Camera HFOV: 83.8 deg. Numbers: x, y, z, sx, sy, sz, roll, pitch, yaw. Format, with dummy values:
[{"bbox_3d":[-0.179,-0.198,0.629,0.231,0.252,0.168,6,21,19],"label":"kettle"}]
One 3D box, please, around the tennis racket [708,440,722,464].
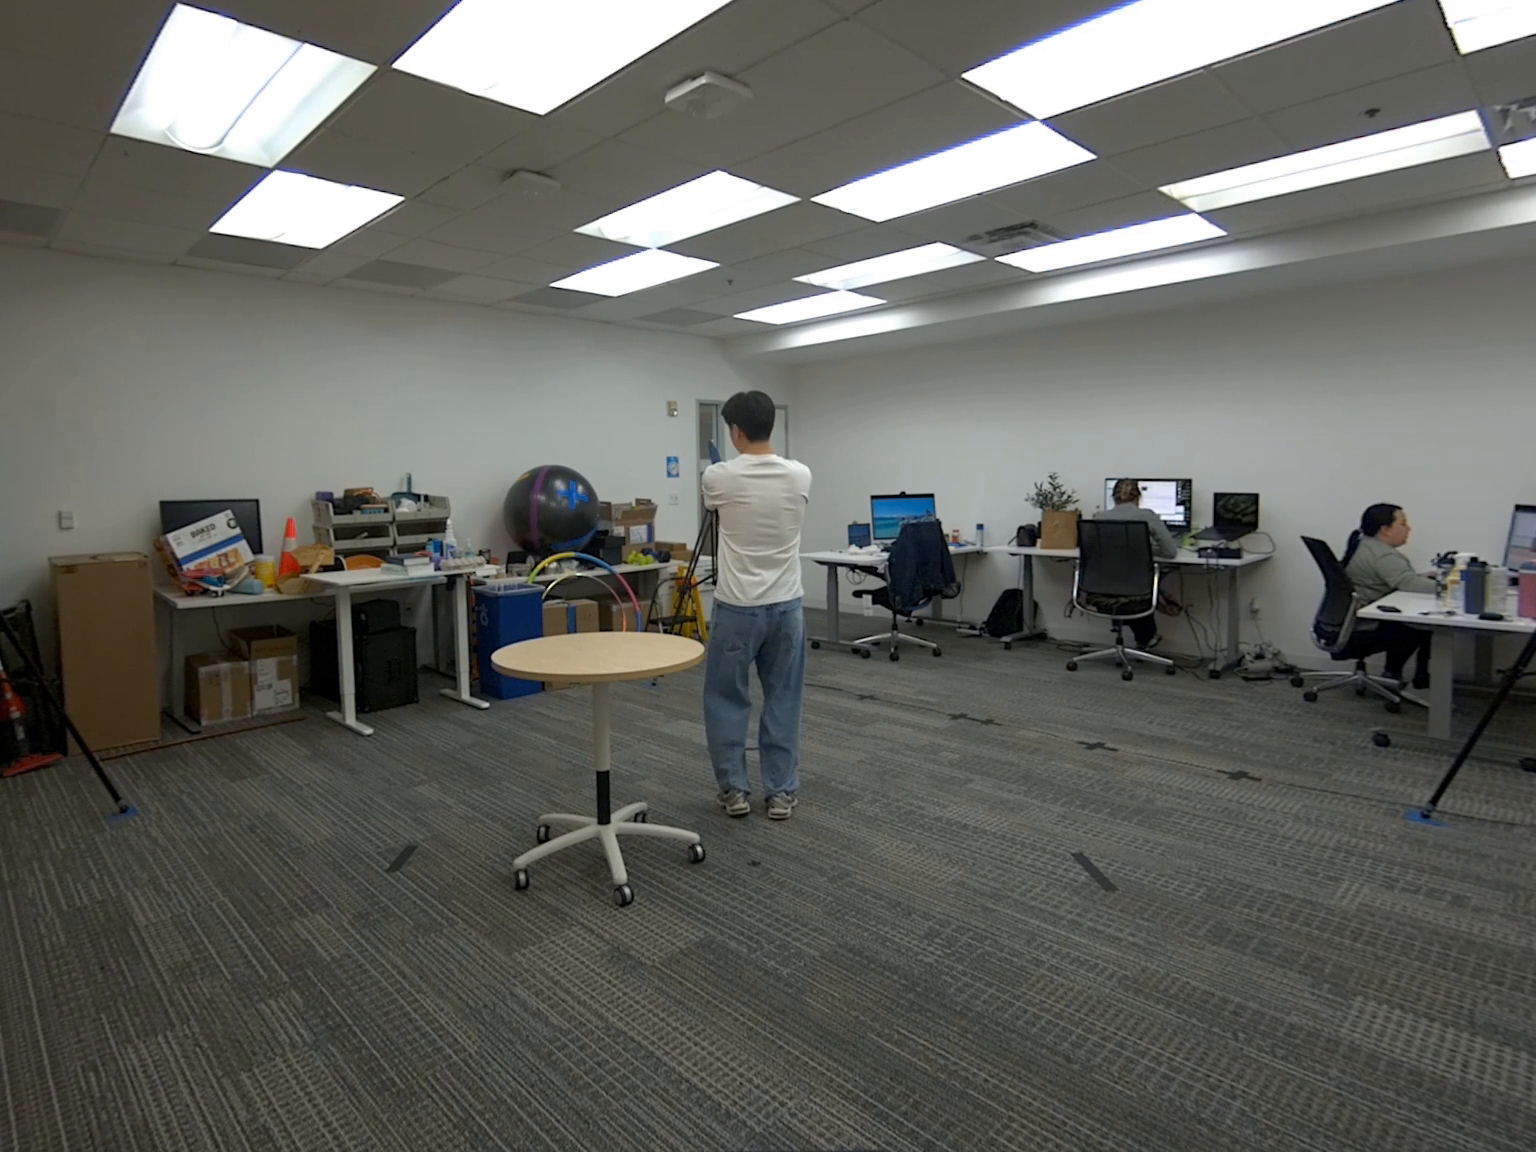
[{"bbox_3d":[-0.249,-0.534,4.262,0.031,0.208,0.448,-14,31,-12],"label":"tennis racket"}]
